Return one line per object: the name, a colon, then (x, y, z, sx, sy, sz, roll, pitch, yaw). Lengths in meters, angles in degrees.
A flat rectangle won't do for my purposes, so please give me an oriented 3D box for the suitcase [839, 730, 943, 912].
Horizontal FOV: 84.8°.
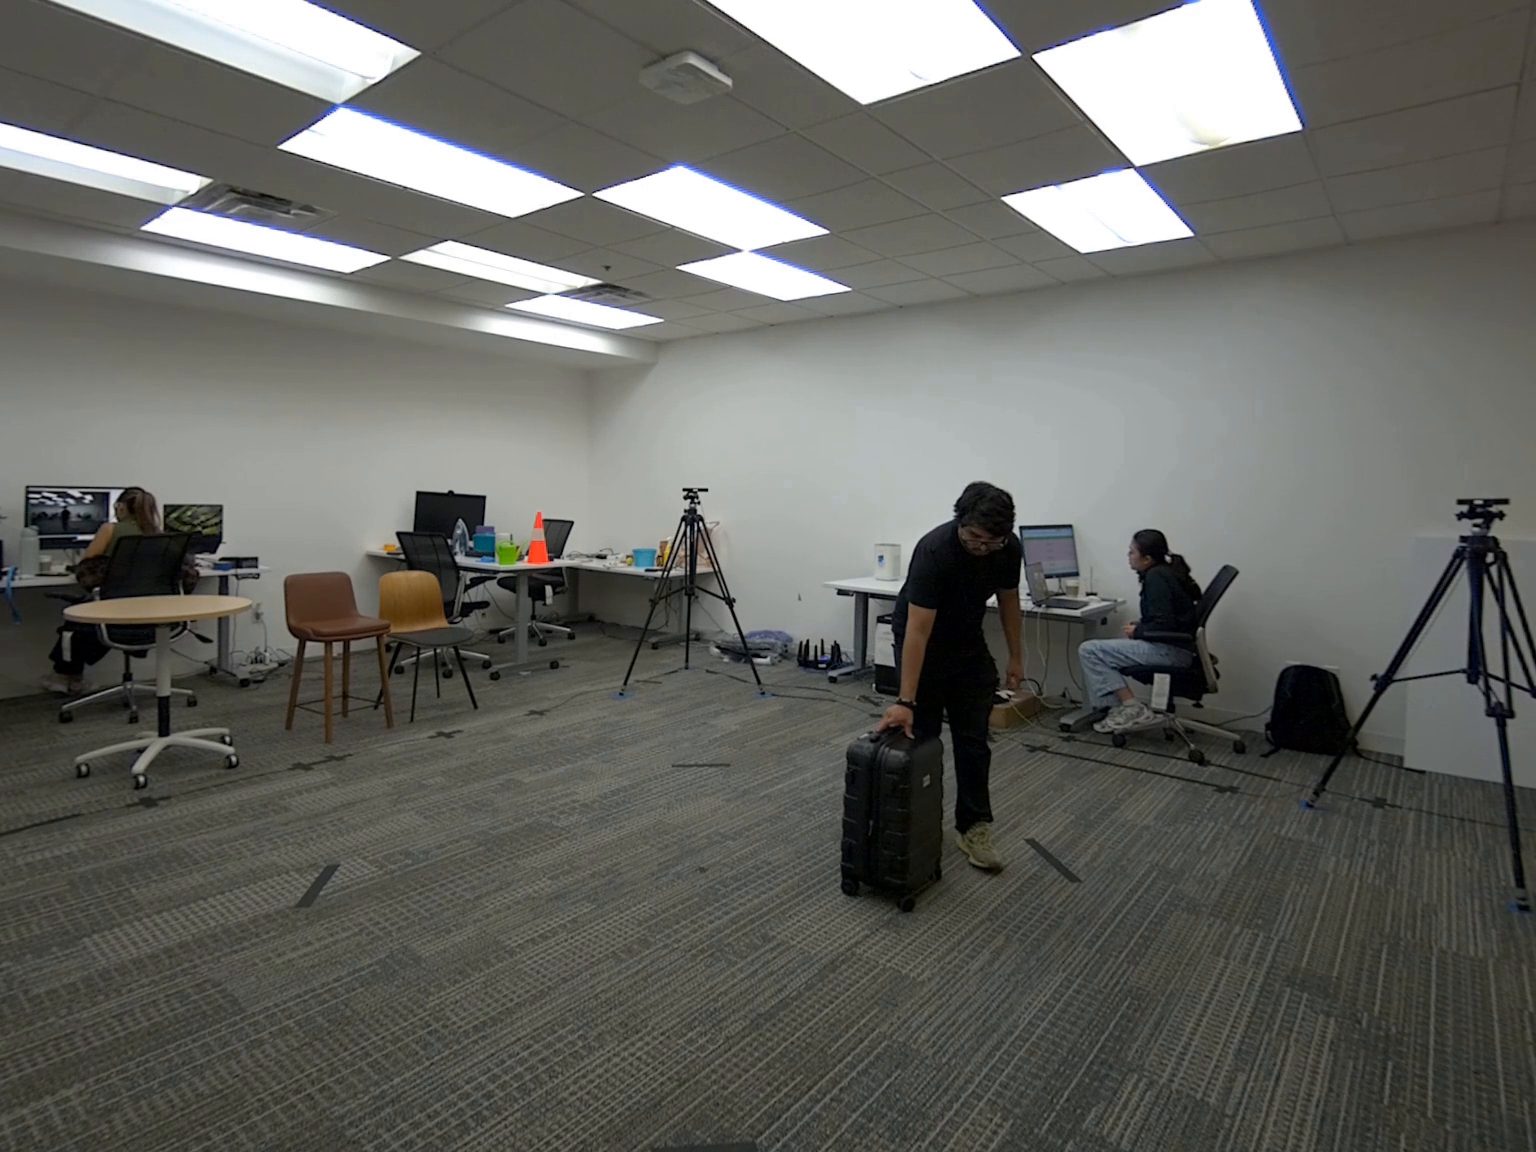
suitcase: (0.441, 0.818, 3.000, 0.256, 0.548, 0.364, 3, 3, 35)
